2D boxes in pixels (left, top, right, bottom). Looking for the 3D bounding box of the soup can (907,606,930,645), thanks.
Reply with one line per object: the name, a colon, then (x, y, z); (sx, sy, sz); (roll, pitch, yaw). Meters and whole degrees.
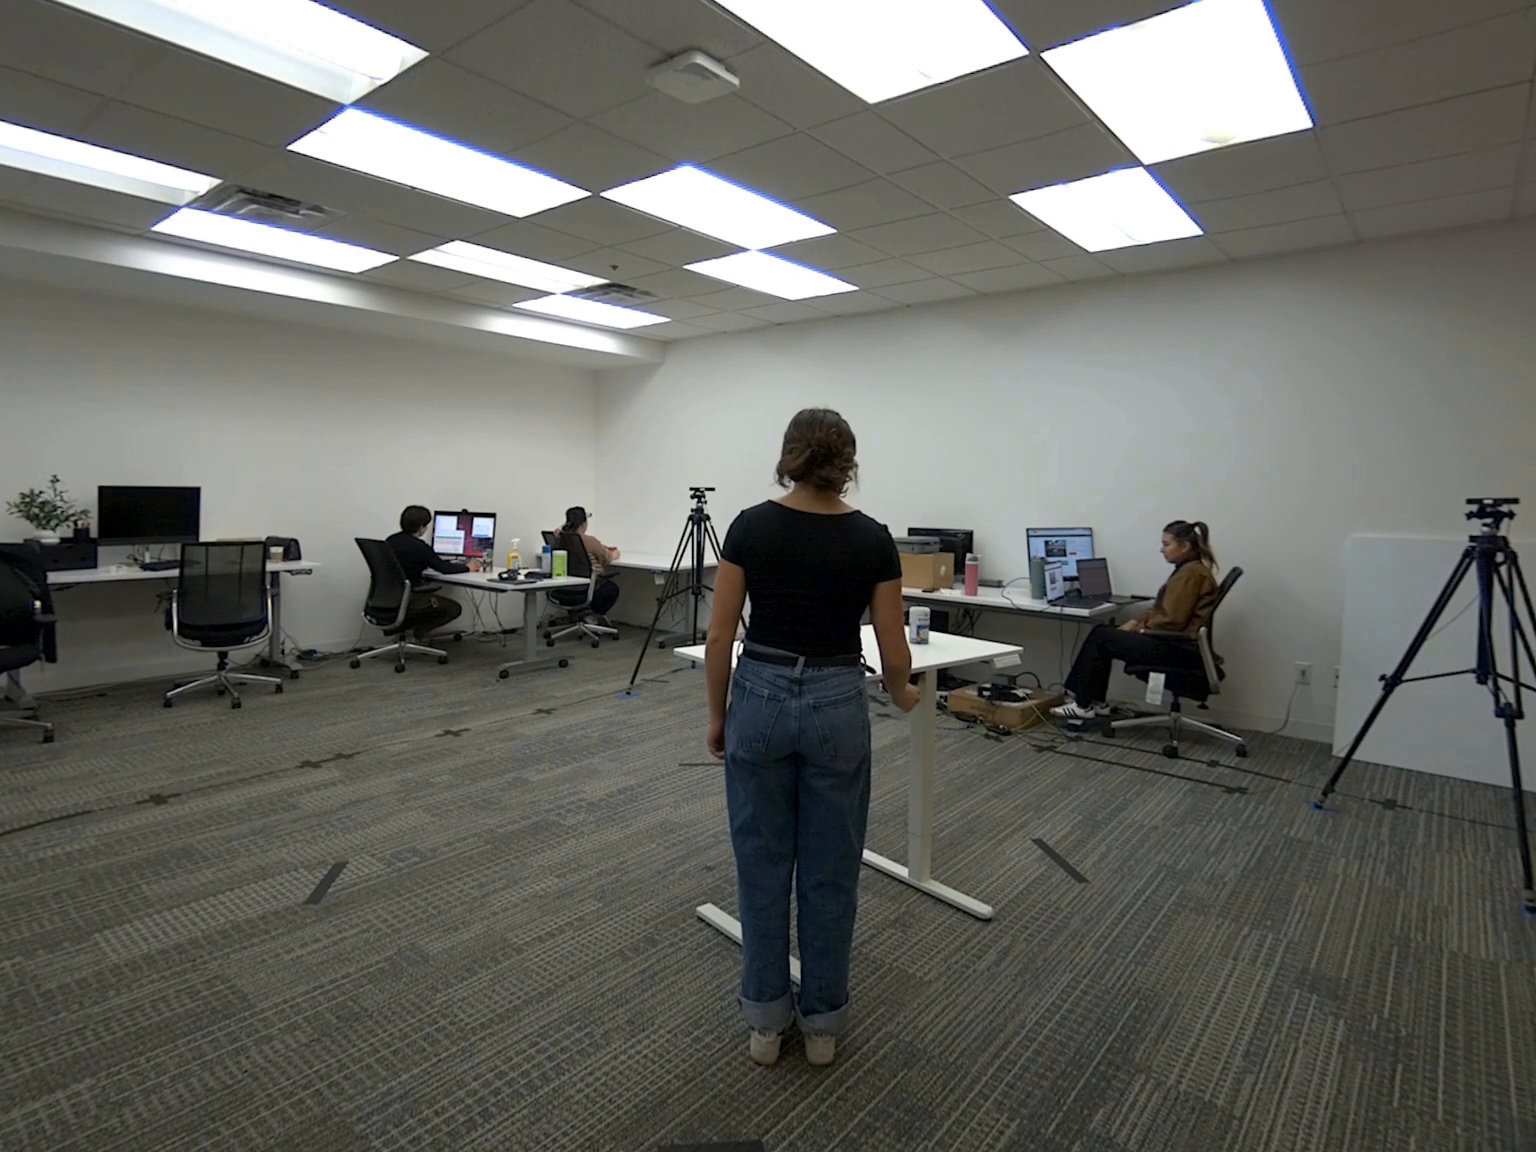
soup can: (0.508, 0.164, 2.871); (0.067, 0.121, 0.067); (0, 4, -2)
